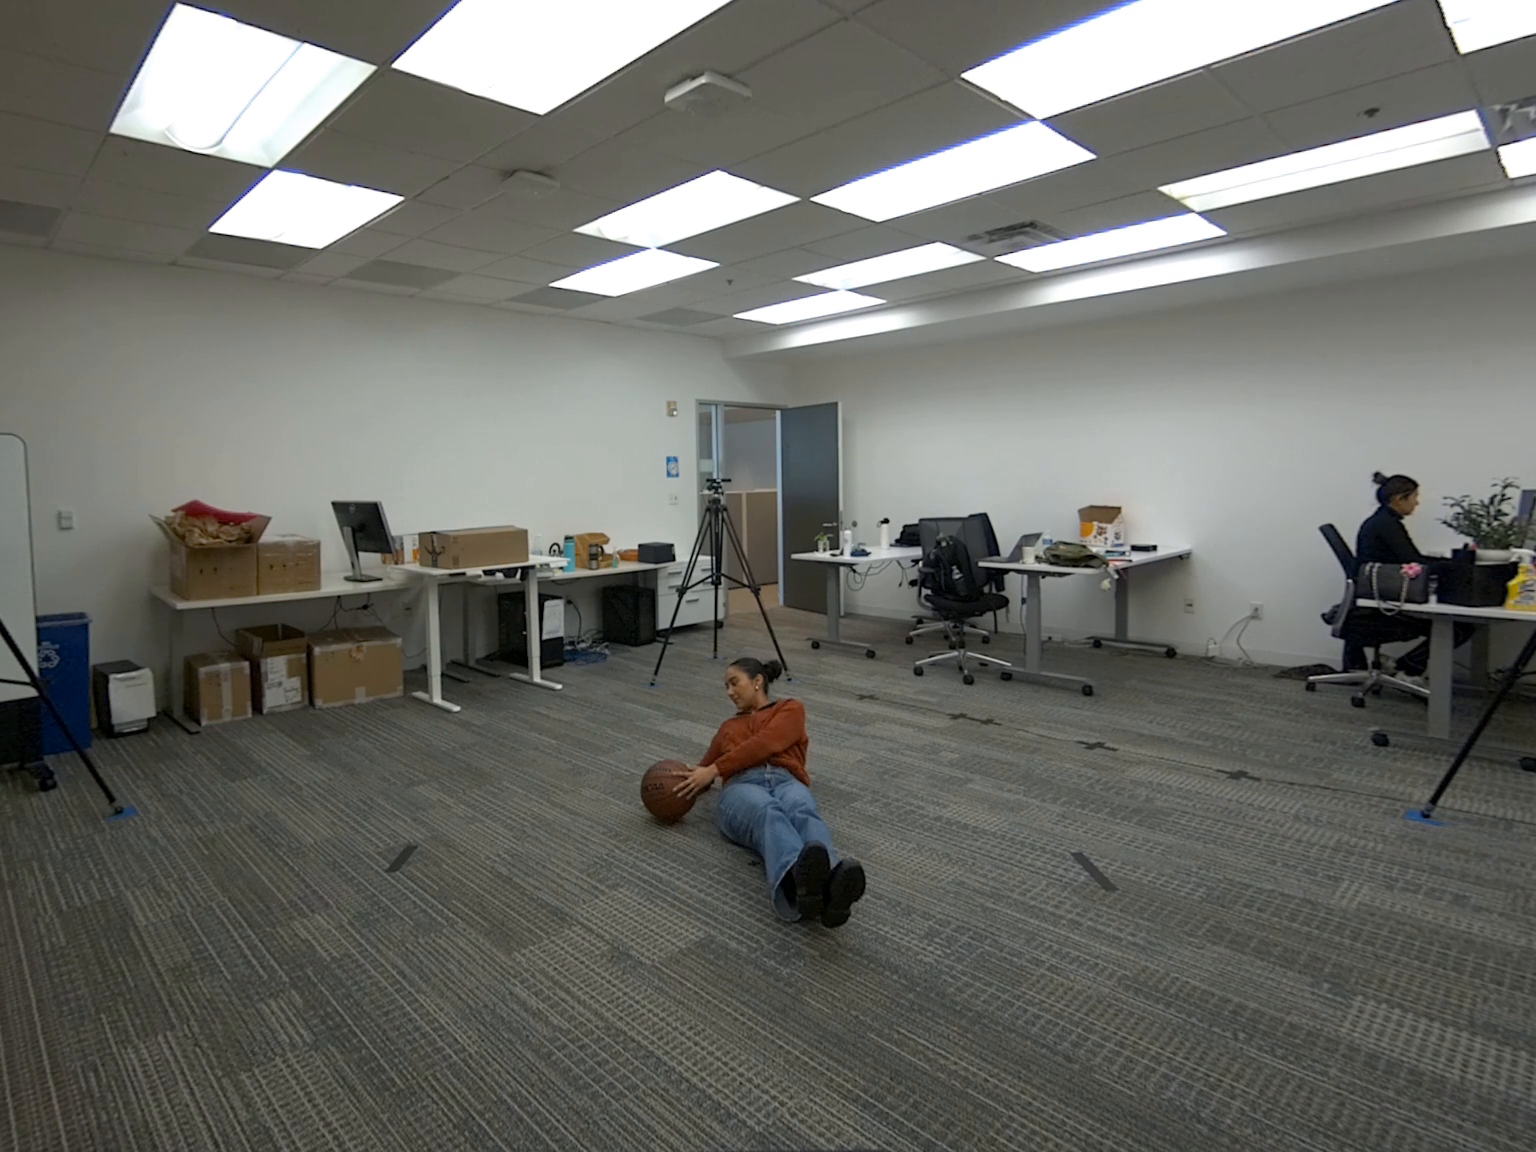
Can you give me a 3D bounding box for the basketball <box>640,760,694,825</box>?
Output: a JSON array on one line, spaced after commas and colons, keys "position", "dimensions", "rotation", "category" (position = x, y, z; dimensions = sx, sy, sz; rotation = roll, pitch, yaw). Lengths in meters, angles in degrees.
[{"position": [-0.388, 0.838, 3.476], "dimensions": [0.236, 0.235, 0.237], "rotation": [-1, 5, -2], "category": "basketball"}]
